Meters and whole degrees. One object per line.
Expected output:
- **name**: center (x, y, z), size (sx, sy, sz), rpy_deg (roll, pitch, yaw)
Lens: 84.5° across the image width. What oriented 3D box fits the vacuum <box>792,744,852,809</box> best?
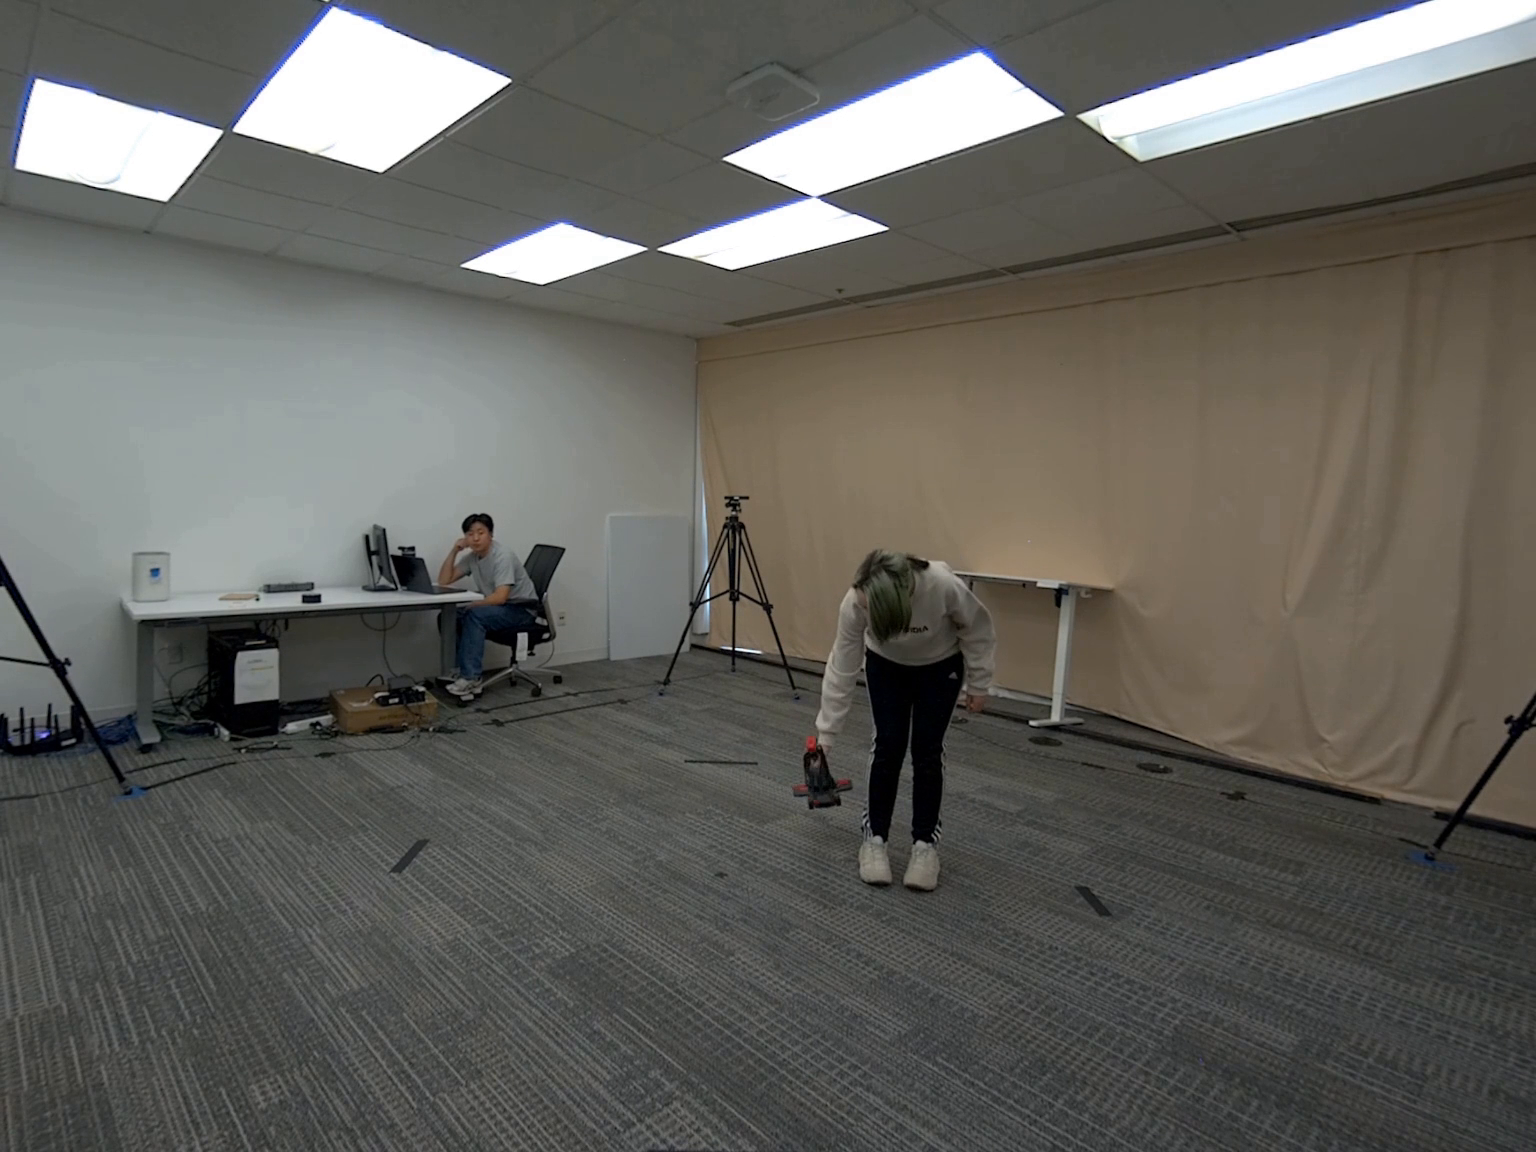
- **vacuum**: center (0.179, 0.717, 3.052), size (0.253, 0.147, 1.027), rpy_deg (-9, -24, 1)
